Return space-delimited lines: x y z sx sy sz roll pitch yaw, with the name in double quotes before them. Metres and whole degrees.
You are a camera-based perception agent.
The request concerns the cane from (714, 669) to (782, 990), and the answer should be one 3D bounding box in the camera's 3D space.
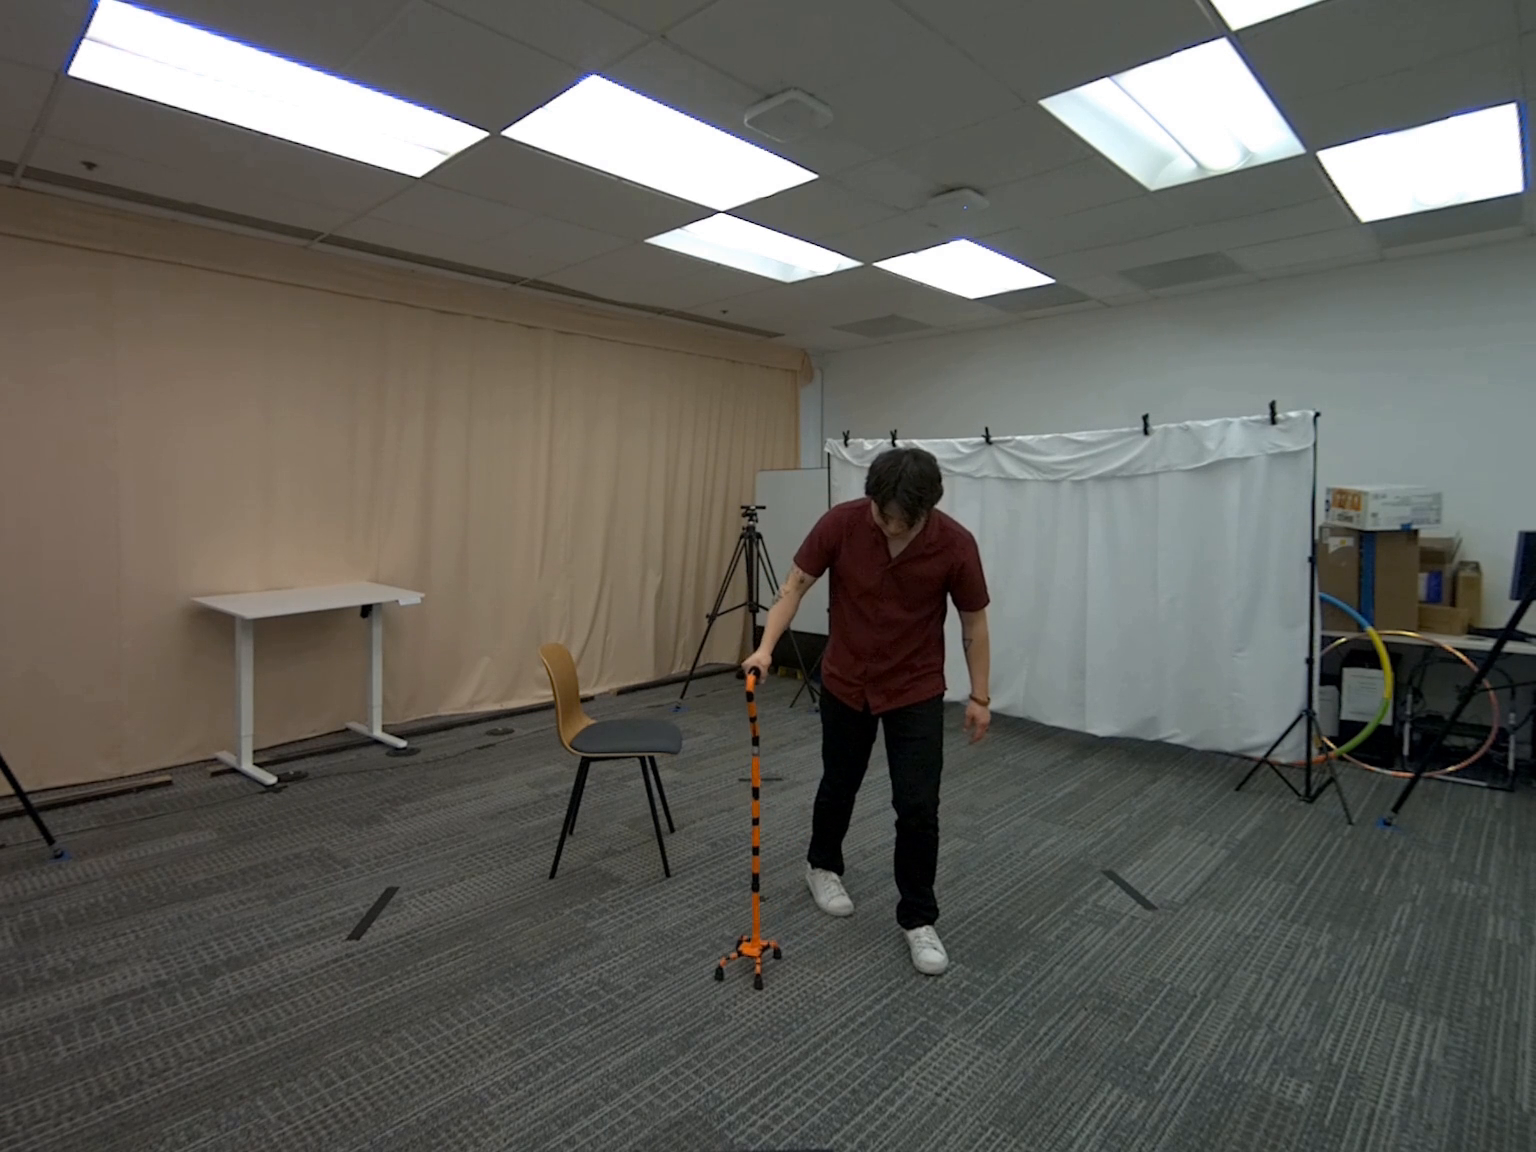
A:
"cane" -0.049 0.724 2.532 0.155 0.907 0.202 0 2 18
